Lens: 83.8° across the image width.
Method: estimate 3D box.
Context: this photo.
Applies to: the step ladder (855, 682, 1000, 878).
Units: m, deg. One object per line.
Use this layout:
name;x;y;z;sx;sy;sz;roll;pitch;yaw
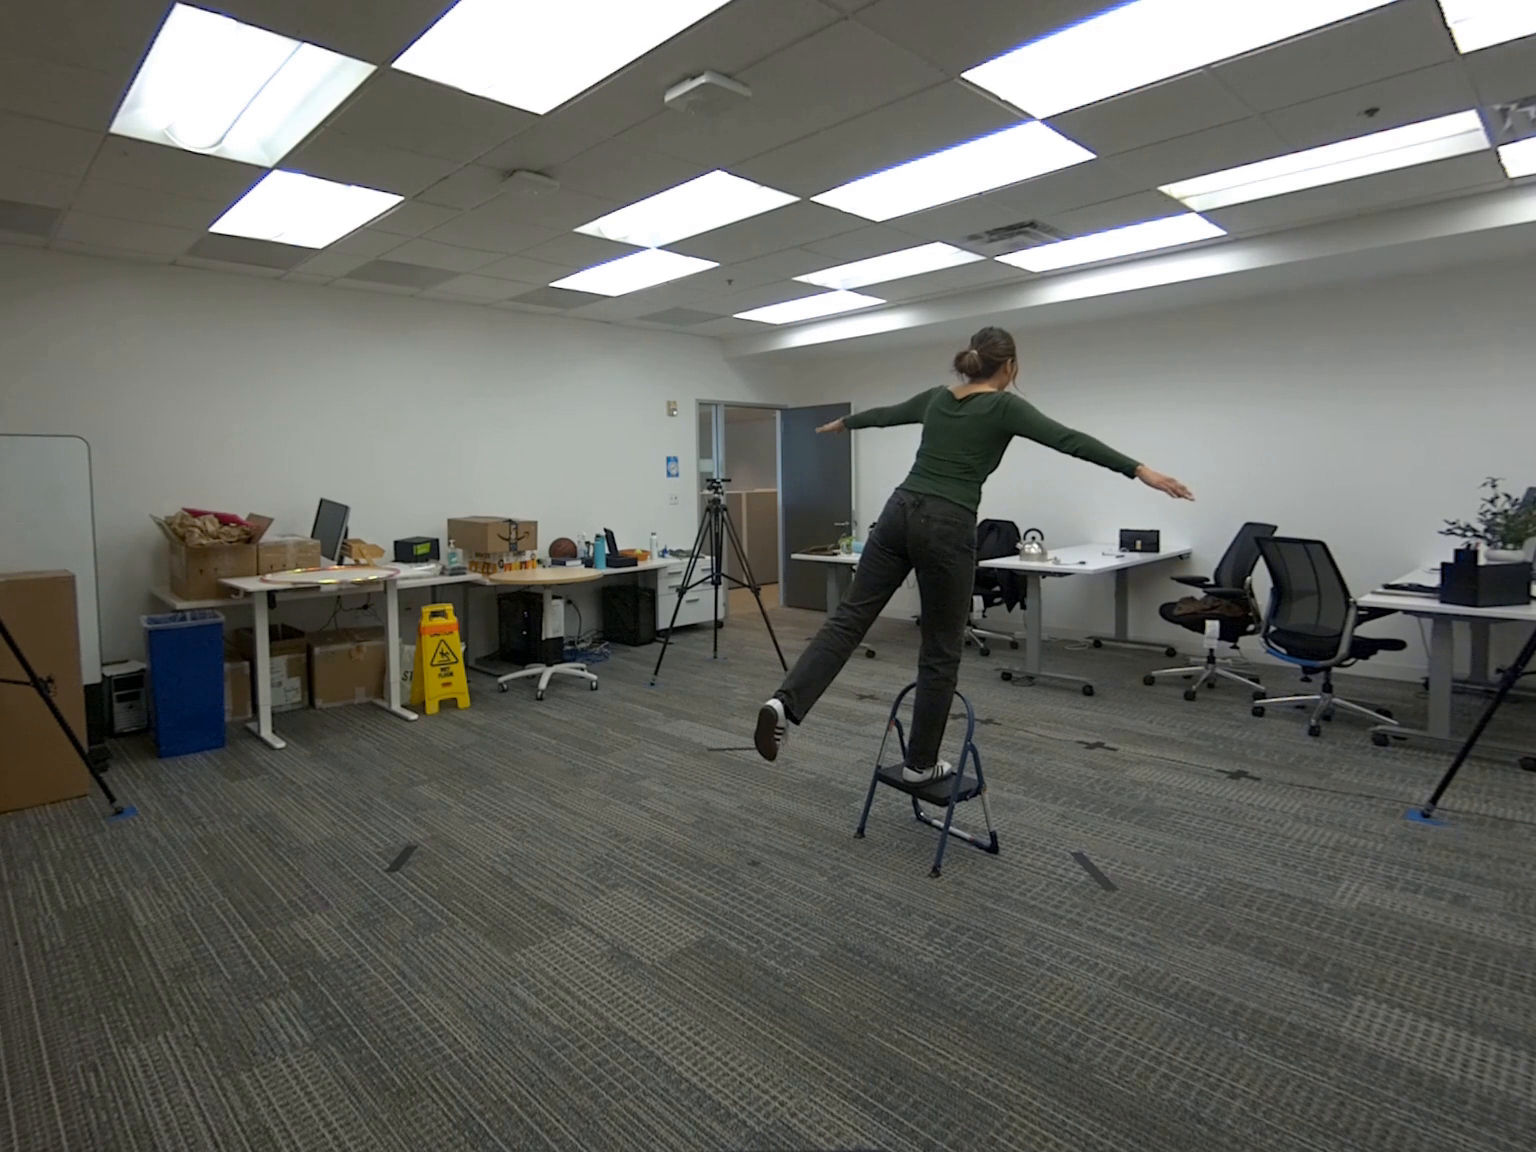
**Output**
step ladder;0.595;0.720;3.219;0.340;0.604;0.443;-3;5;-34
